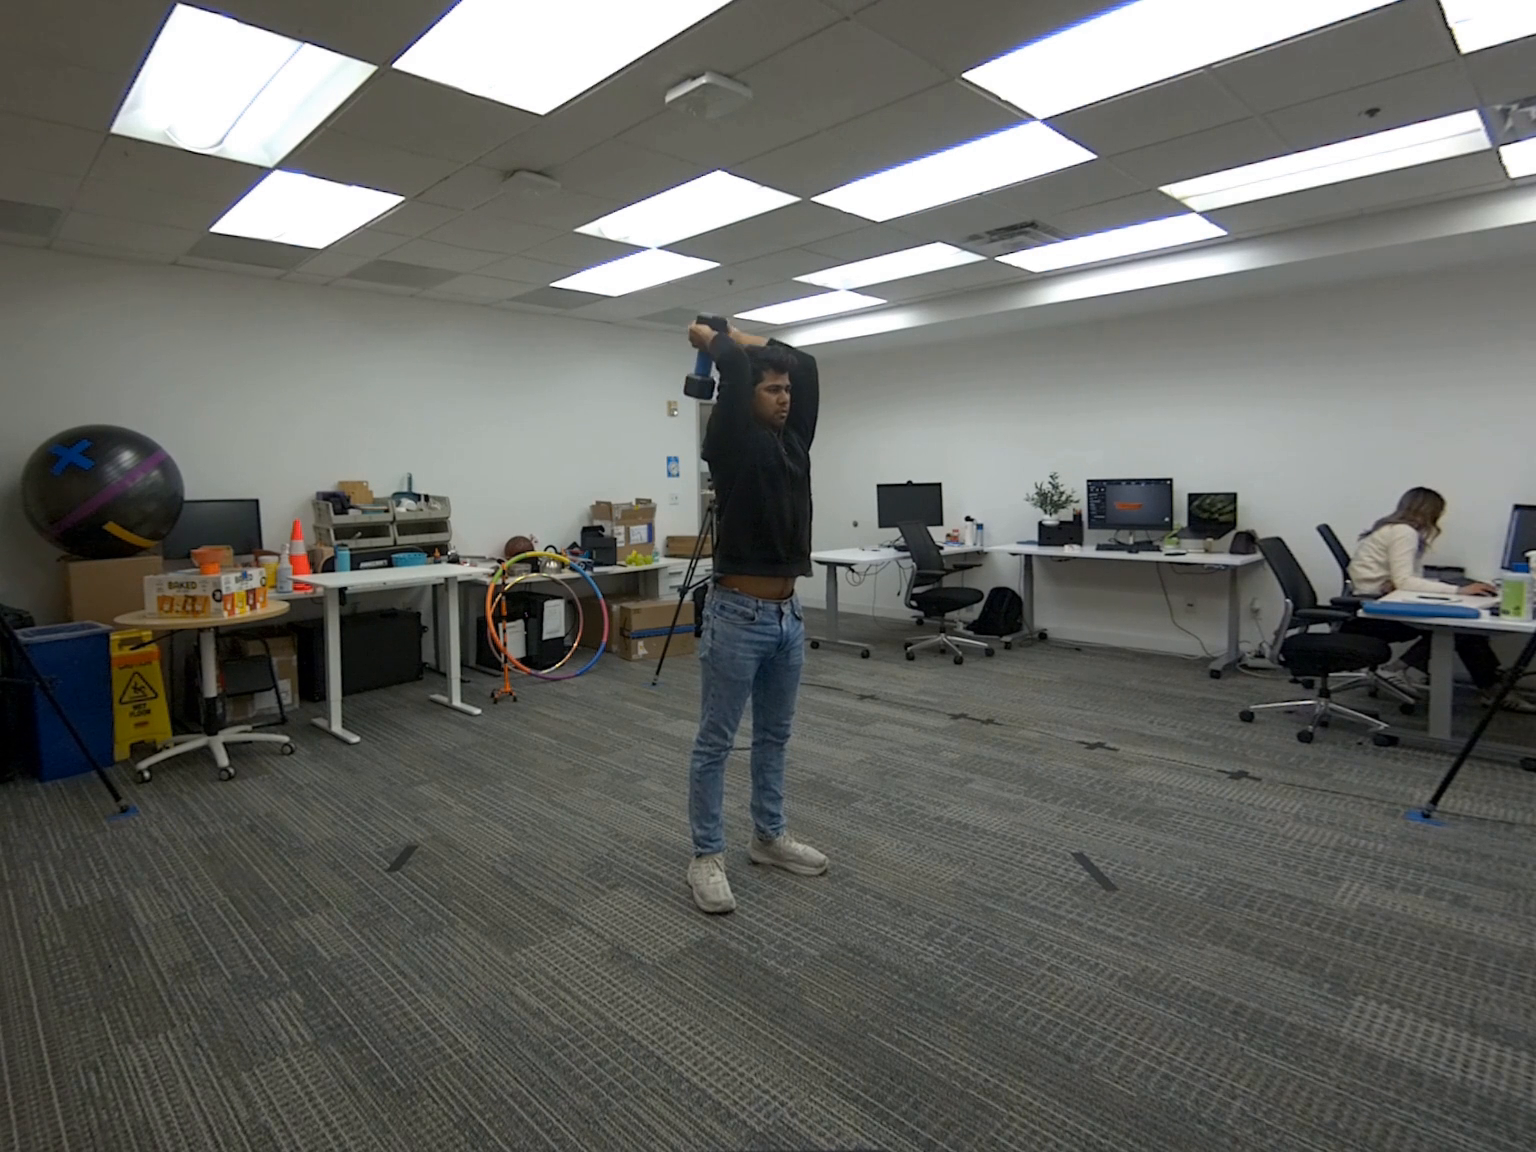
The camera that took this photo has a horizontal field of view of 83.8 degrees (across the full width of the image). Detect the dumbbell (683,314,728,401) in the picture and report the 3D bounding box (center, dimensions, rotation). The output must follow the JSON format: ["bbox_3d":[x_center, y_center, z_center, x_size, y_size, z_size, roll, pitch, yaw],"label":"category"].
[{"bbox_3d":[-0.206,-0.765,3.001,0.120,0.290,0.112,1,17,-30],"label":"dumbbell"}]
